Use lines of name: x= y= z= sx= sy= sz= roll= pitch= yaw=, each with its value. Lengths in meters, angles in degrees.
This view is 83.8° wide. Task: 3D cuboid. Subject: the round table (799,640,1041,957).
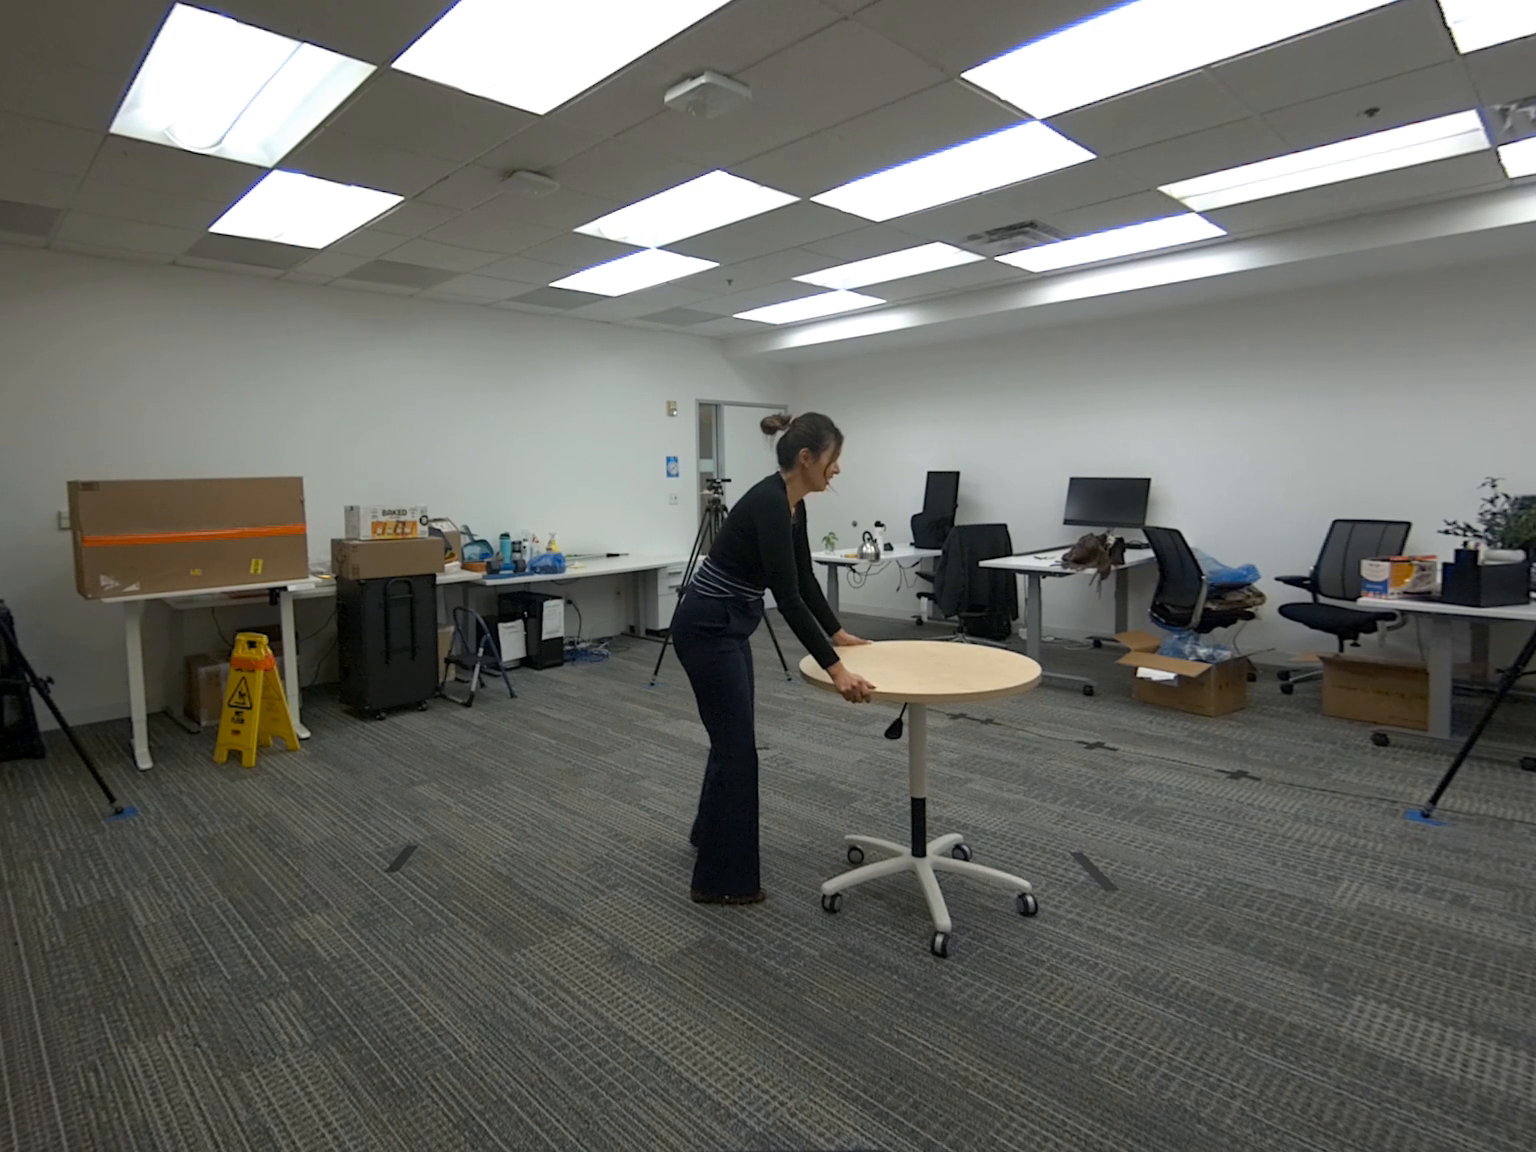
round table: x=0.494 y=0.675 z=2.818 sx=0.763 sy=0.791 sz=0.768 roll=-1 pitch=5 yaw=-2
